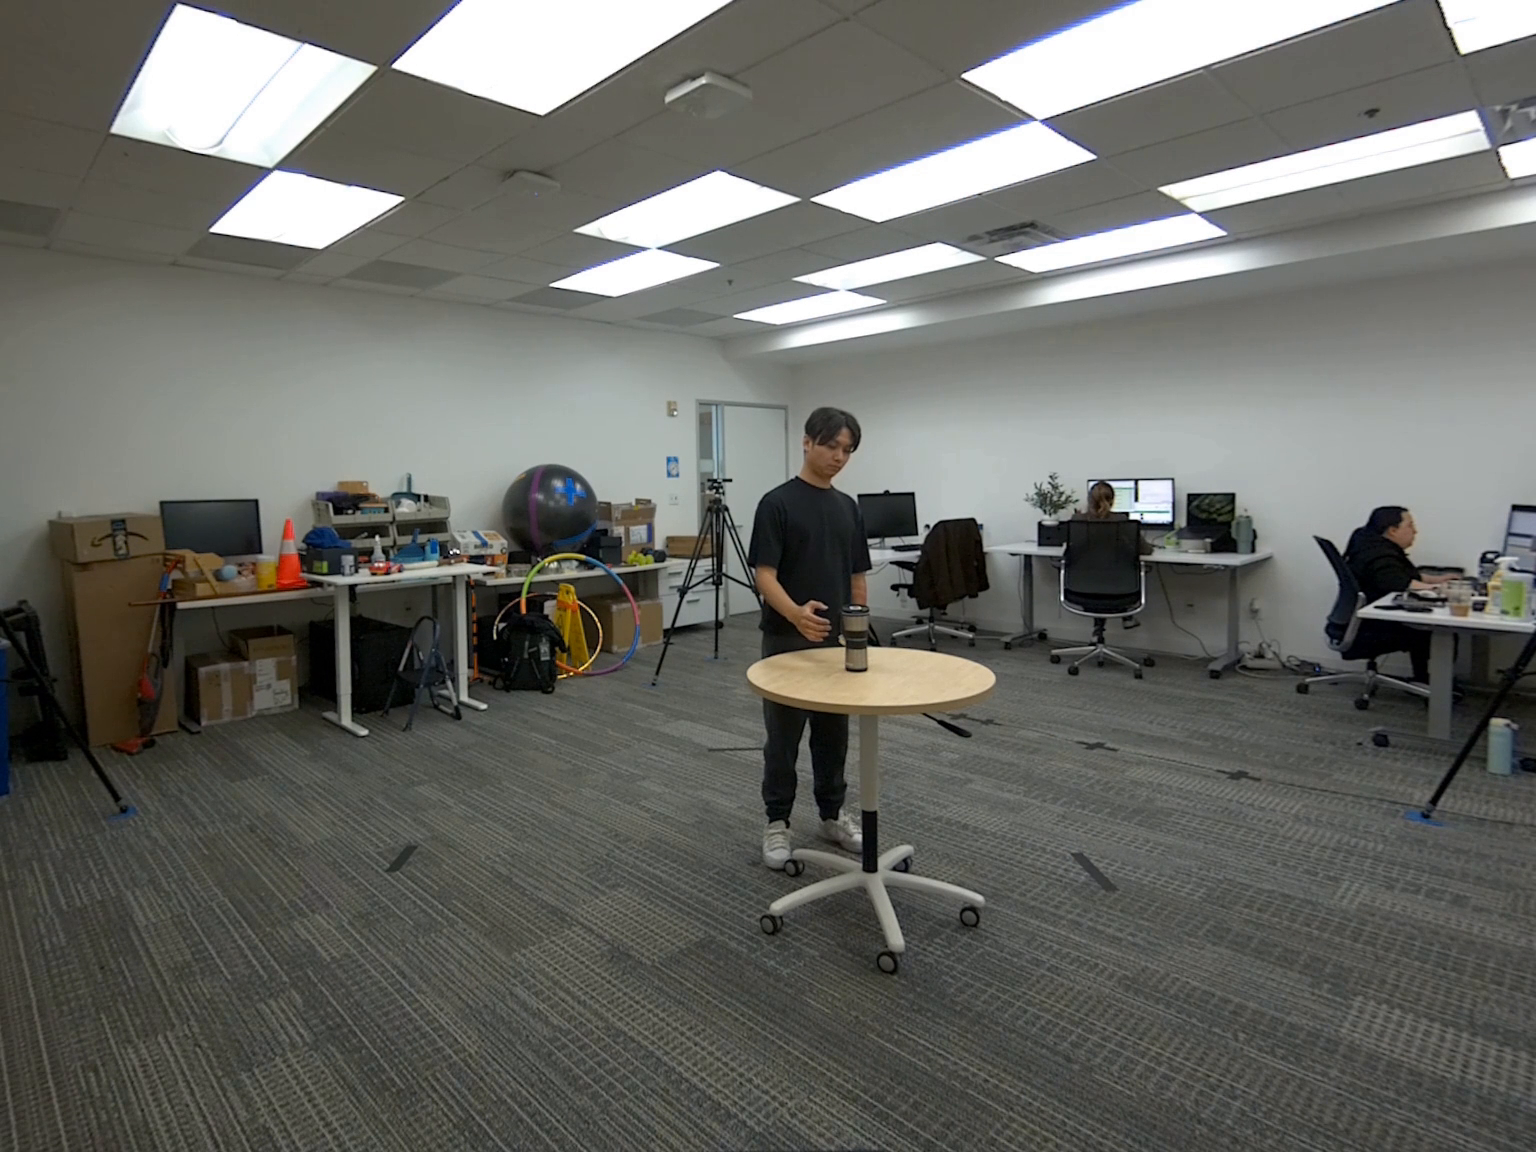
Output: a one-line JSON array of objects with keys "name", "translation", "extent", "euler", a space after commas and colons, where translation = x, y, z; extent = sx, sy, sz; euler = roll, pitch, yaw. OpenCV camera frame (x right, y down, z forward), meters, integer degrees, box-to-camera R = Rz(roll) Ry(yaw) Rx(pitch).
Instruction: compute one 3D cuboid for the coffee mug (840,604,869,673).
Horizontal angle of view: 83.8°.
[{"name": "coffee mug", "translation": [0.288, 0.203, 2.736], "extent": [0.089, 0.202, 0.121], "euler": [-4, 5, 11]}]
